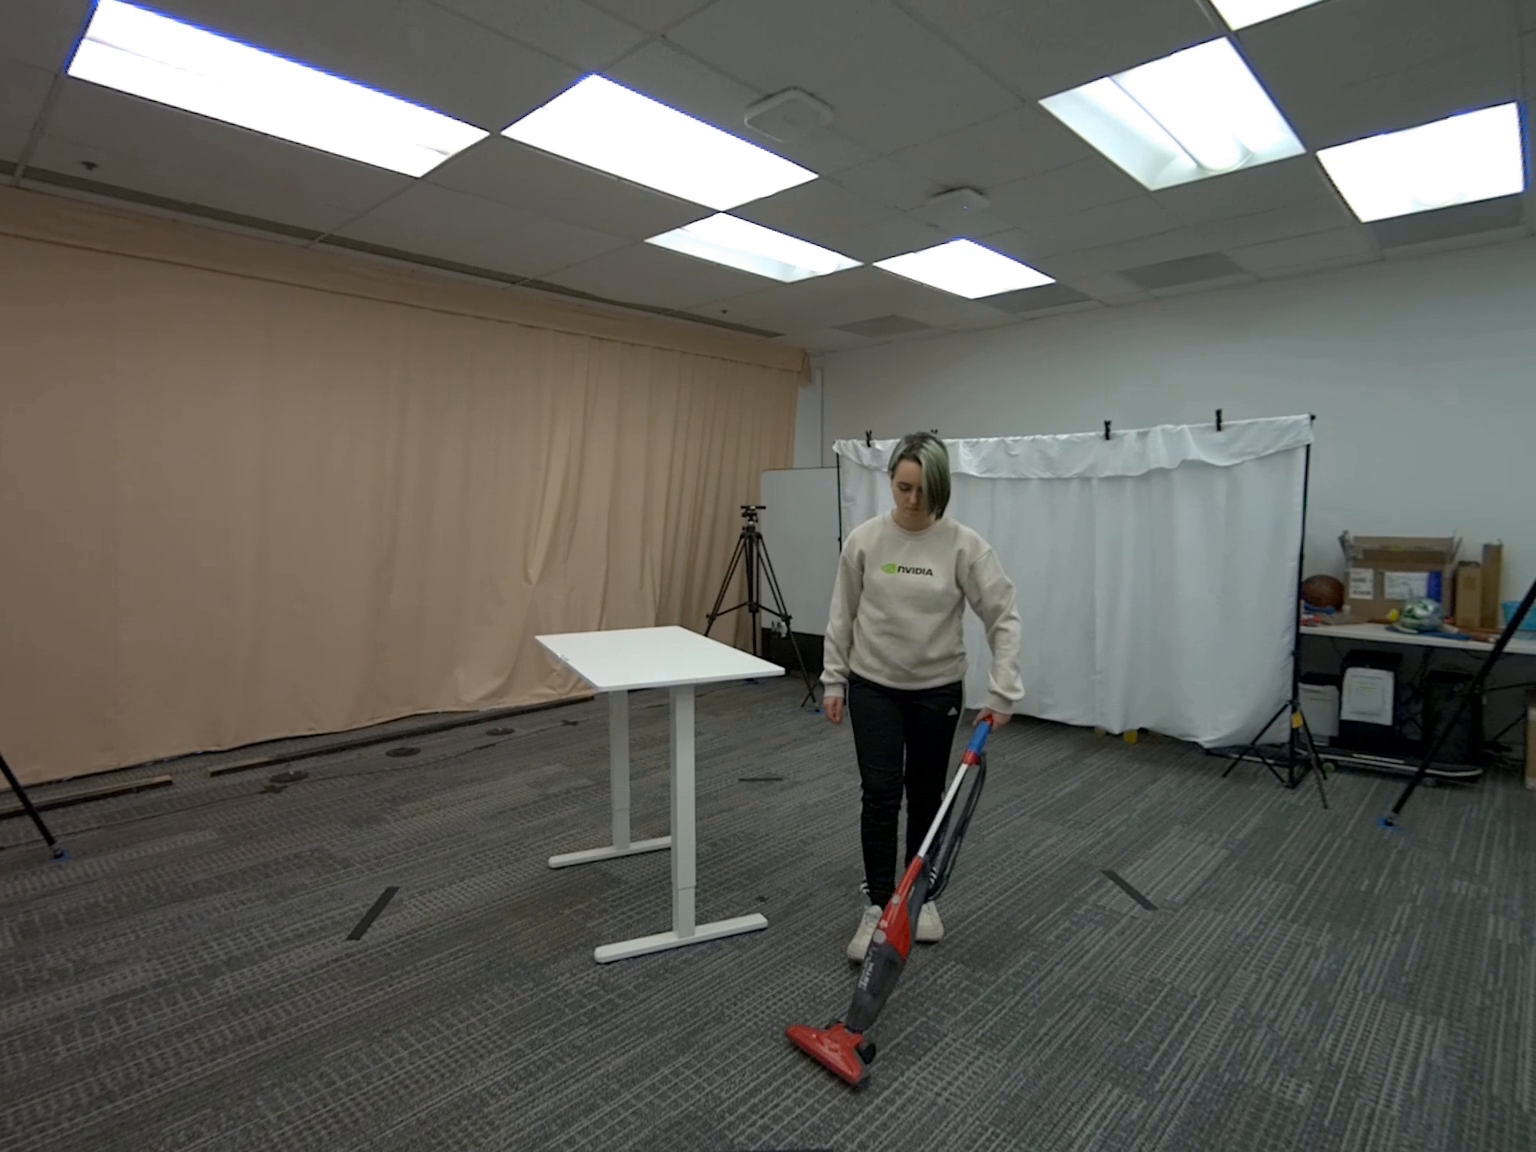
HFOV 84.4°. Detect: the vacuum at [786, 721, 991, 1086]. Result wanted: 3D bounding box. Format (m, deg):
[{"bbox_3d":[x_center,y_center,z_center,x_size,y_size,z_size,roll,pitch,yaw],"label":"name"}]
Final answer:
[{"bbox_3d":[0.438,0.812,2.304,0.262,1.046,0.139,14,-30,44],"label":"vacuum"}]
